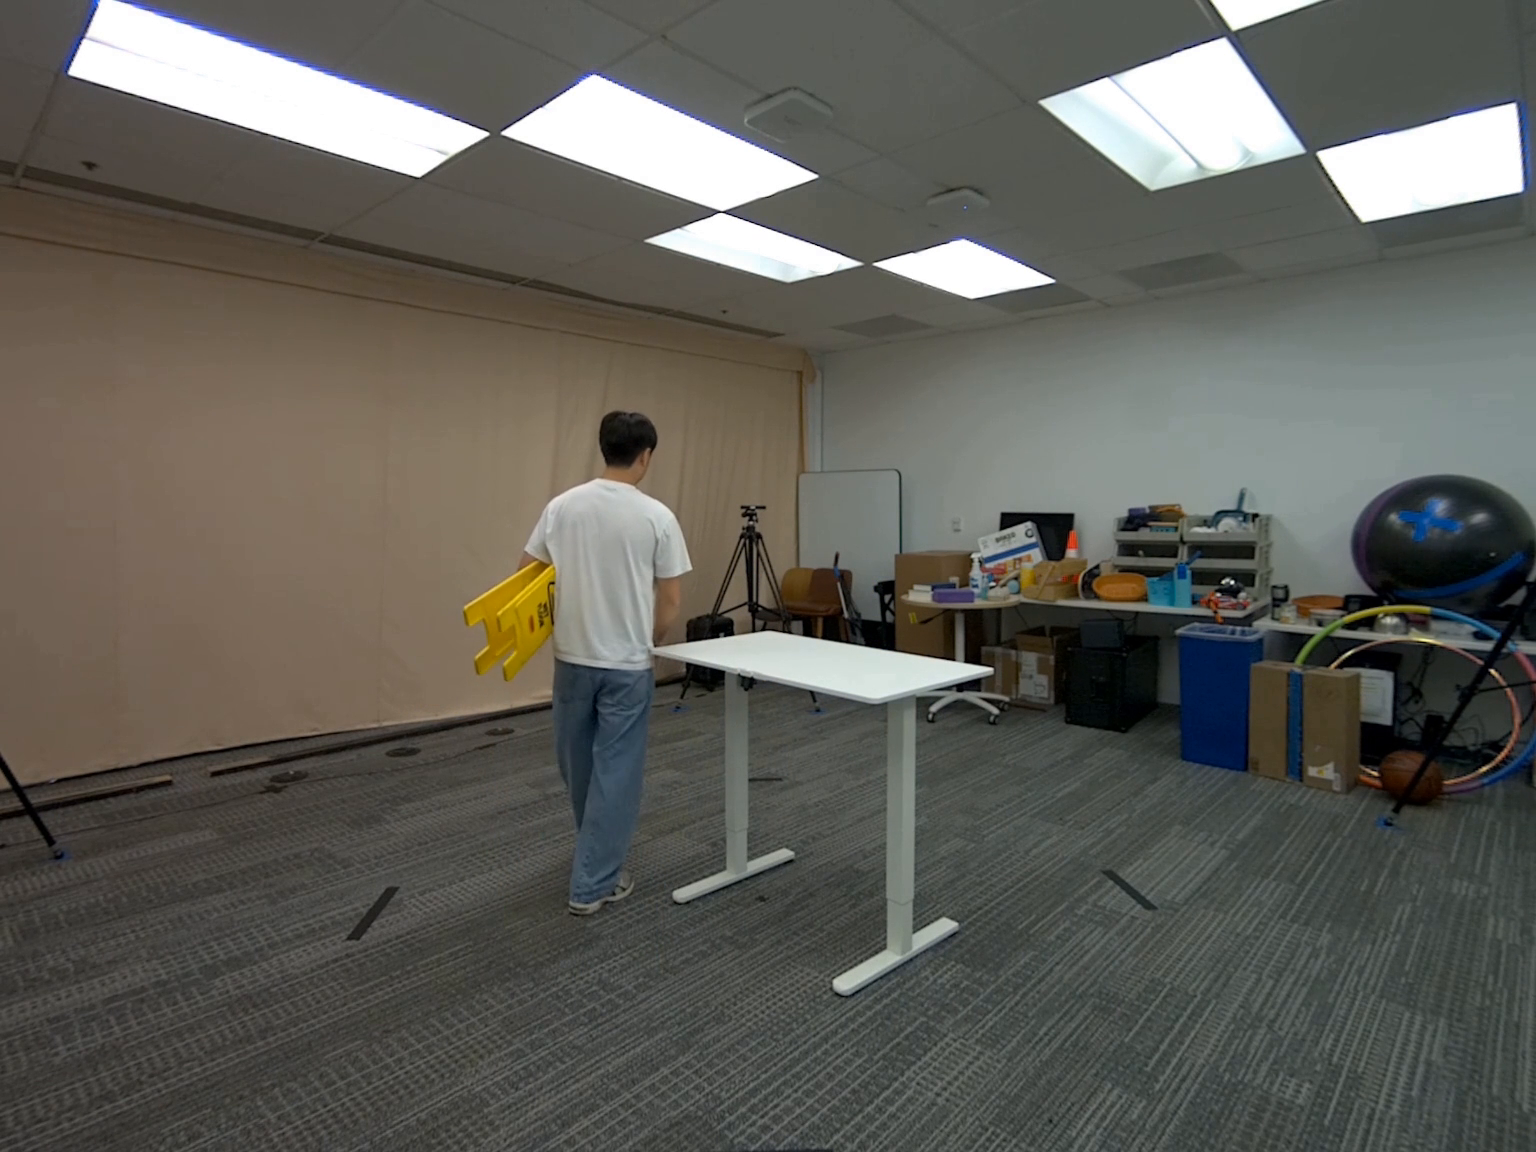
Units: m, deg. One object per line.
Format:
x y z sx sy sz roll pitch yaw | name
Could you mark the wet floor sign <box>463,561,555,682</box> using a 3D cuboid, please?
-0.790 0.082 3.025 0.296 0.277 0.644 6 32 17 | wet floor sign
